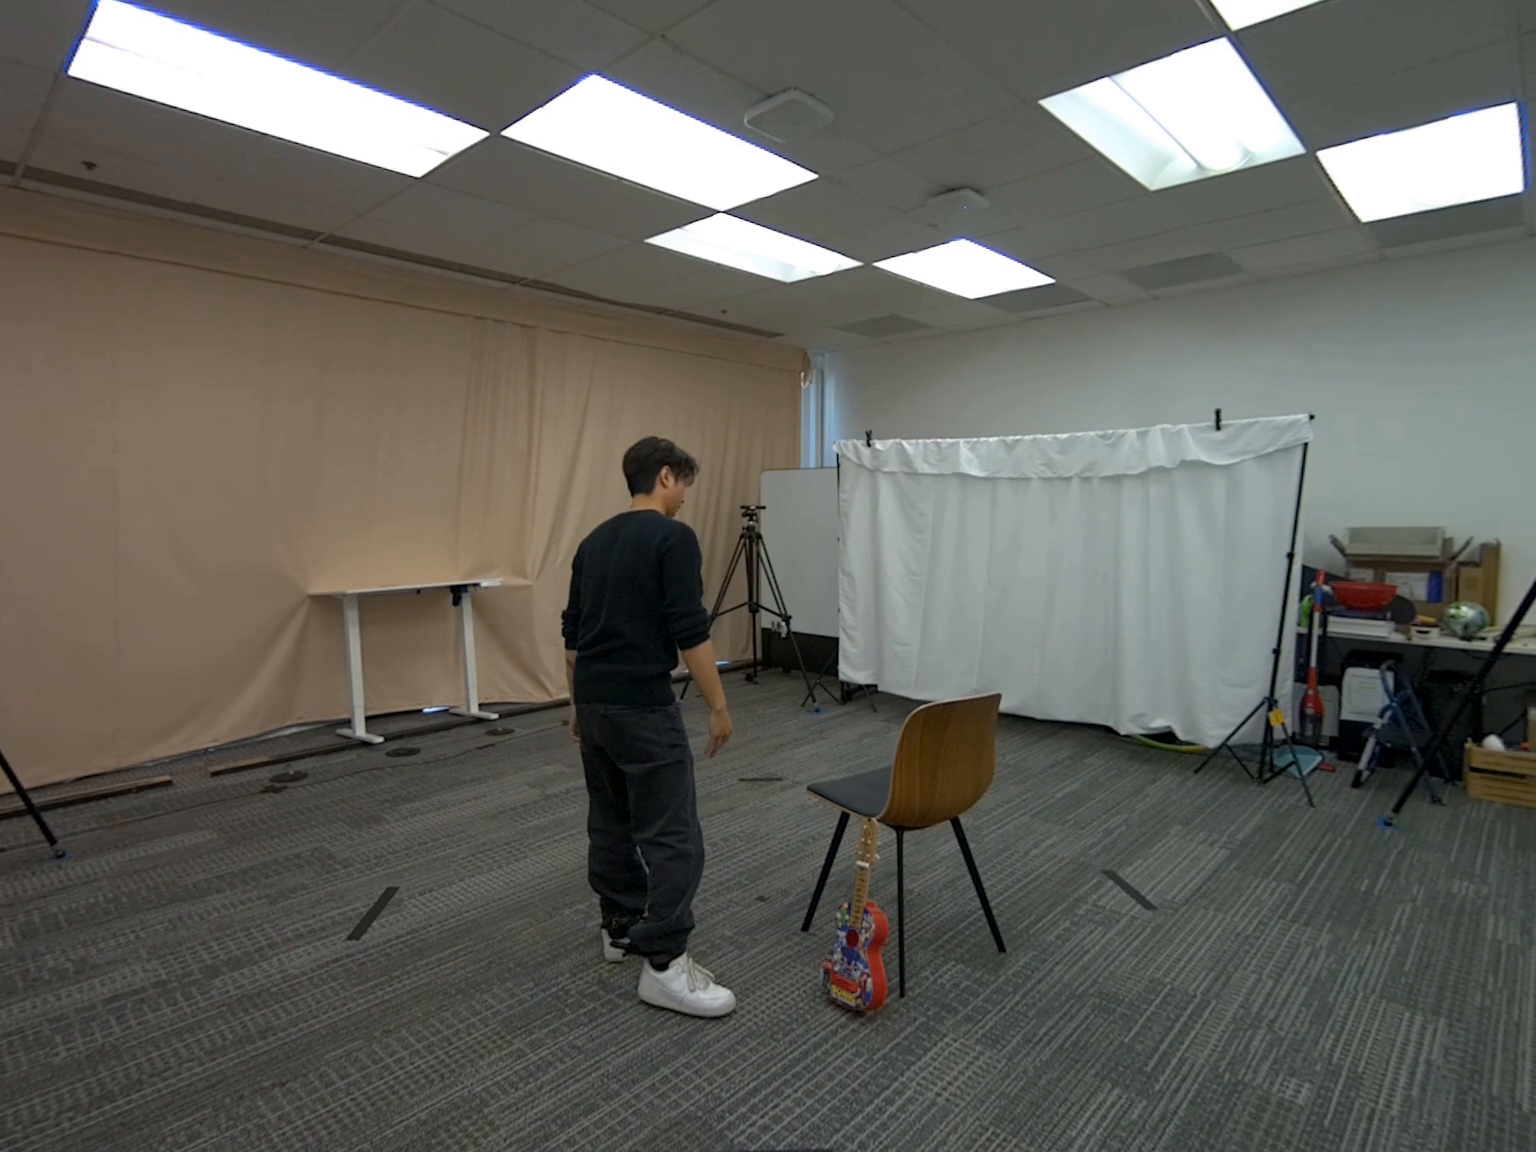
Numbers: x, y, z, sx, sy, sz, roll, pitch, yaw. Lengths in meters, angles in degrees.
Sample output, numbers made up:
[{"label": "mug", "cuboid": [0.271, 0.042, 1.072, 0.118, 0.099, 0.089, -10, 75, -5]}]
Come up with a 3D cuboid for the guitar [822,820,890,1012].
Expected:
[{"label": "guitar", "cuboid": [0.291, 0.953, 2.352, 0.068, 0.499, 0.199, 21, -8, -38]}]
